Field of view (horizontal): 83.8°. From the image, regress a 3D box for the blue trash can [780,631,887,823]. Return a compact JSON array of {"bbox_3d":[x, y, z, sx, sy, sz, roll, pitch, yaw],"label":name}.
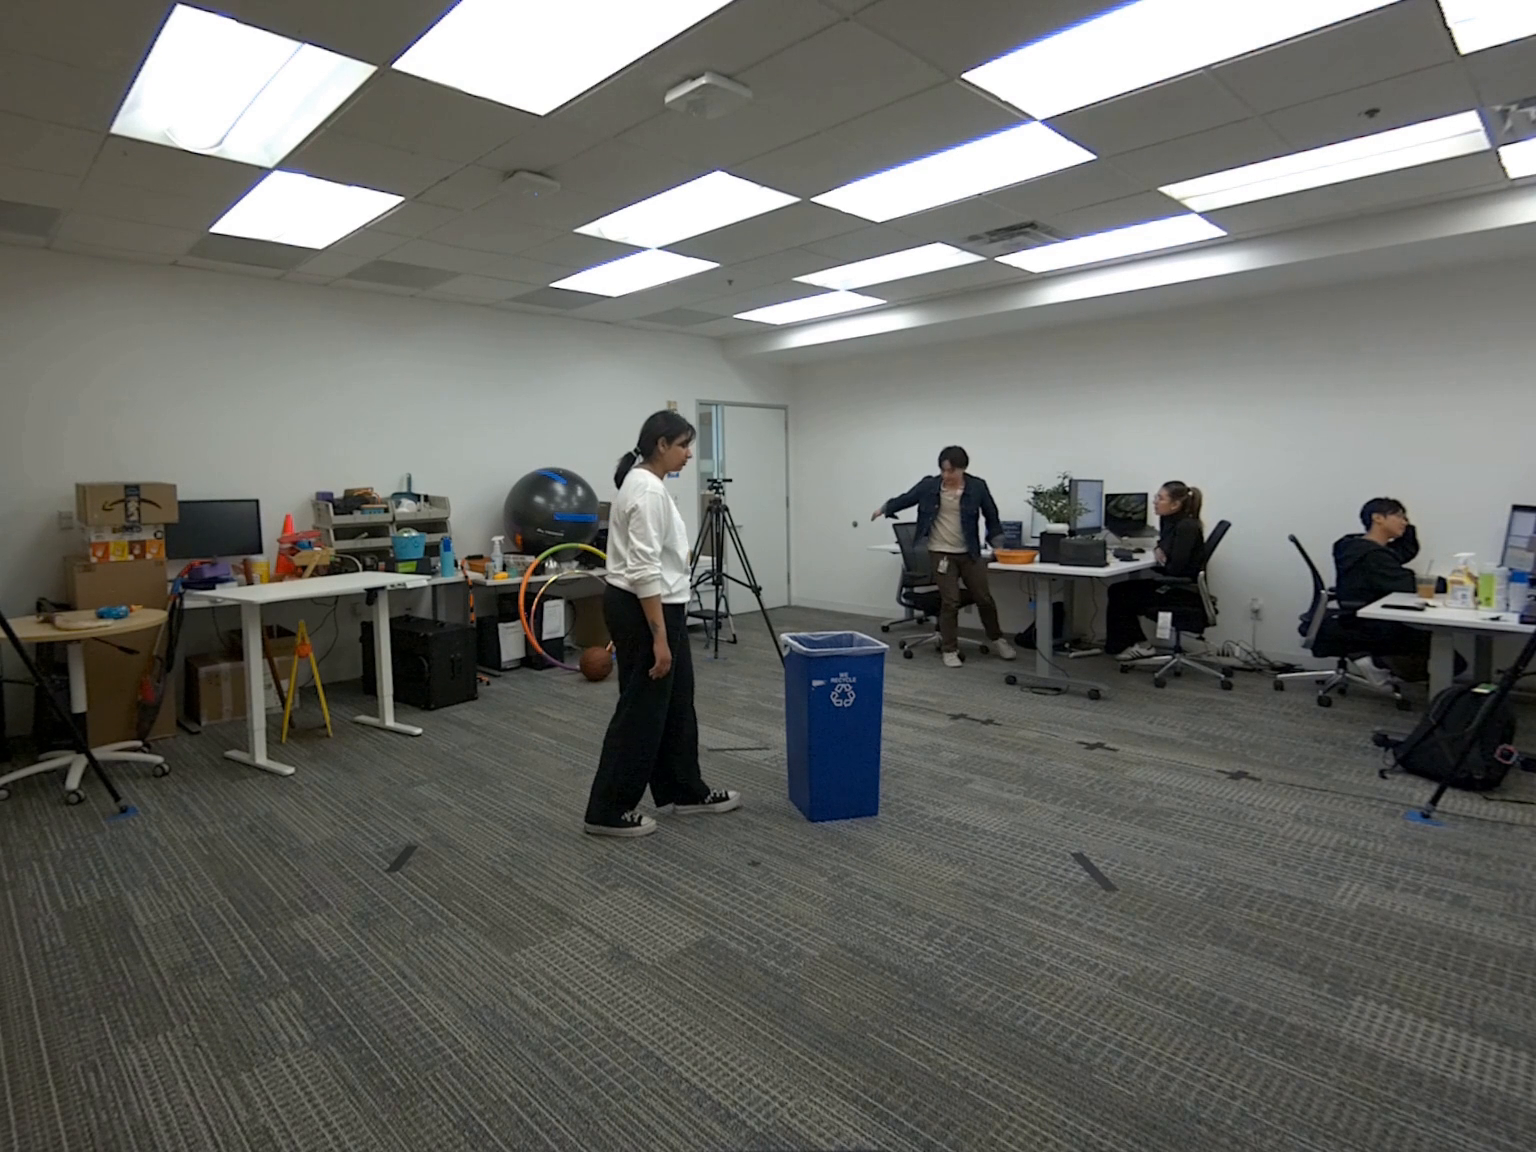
[{"bbox_3d":[0.273,0.621,3.617,0.369,0.711,0.384,-1,4,-15],"label":"blue trash can"}]
